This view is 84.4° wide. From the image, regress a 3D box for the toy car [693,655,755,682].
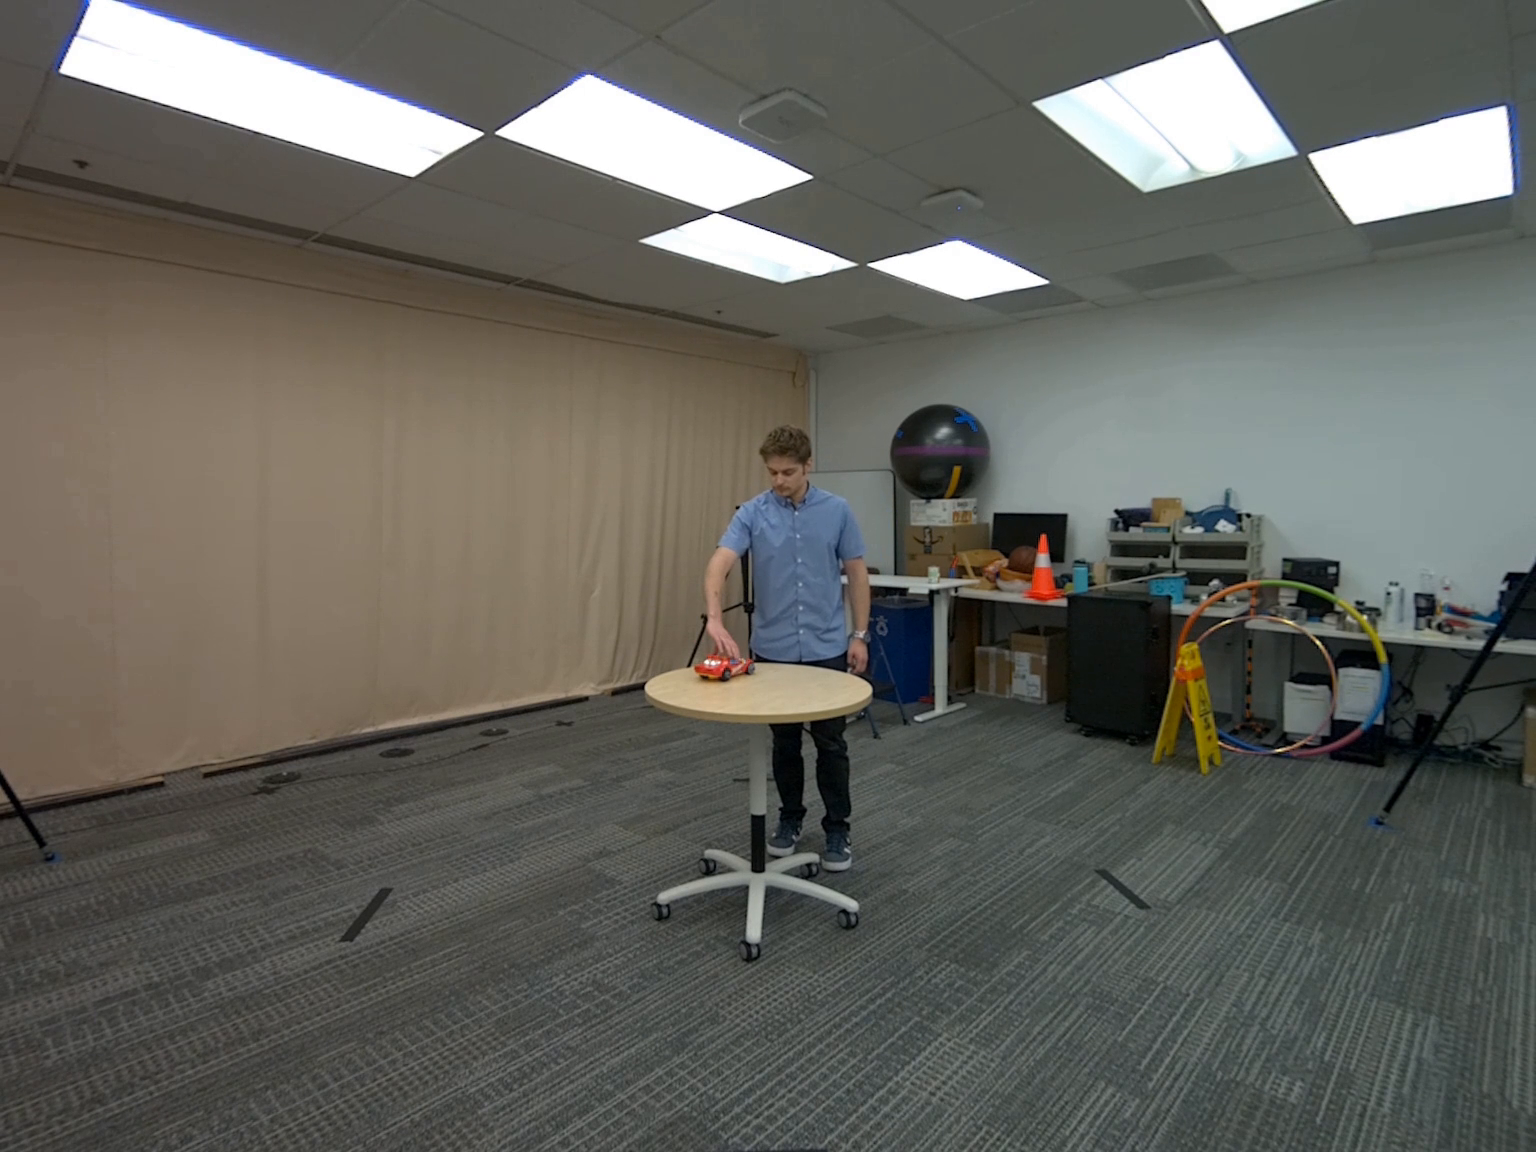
[{"bbox_3d":[-0.156,0.329,2.983,0.134,0.083,0.246,4,-5,36],"label":"toy car"}]
